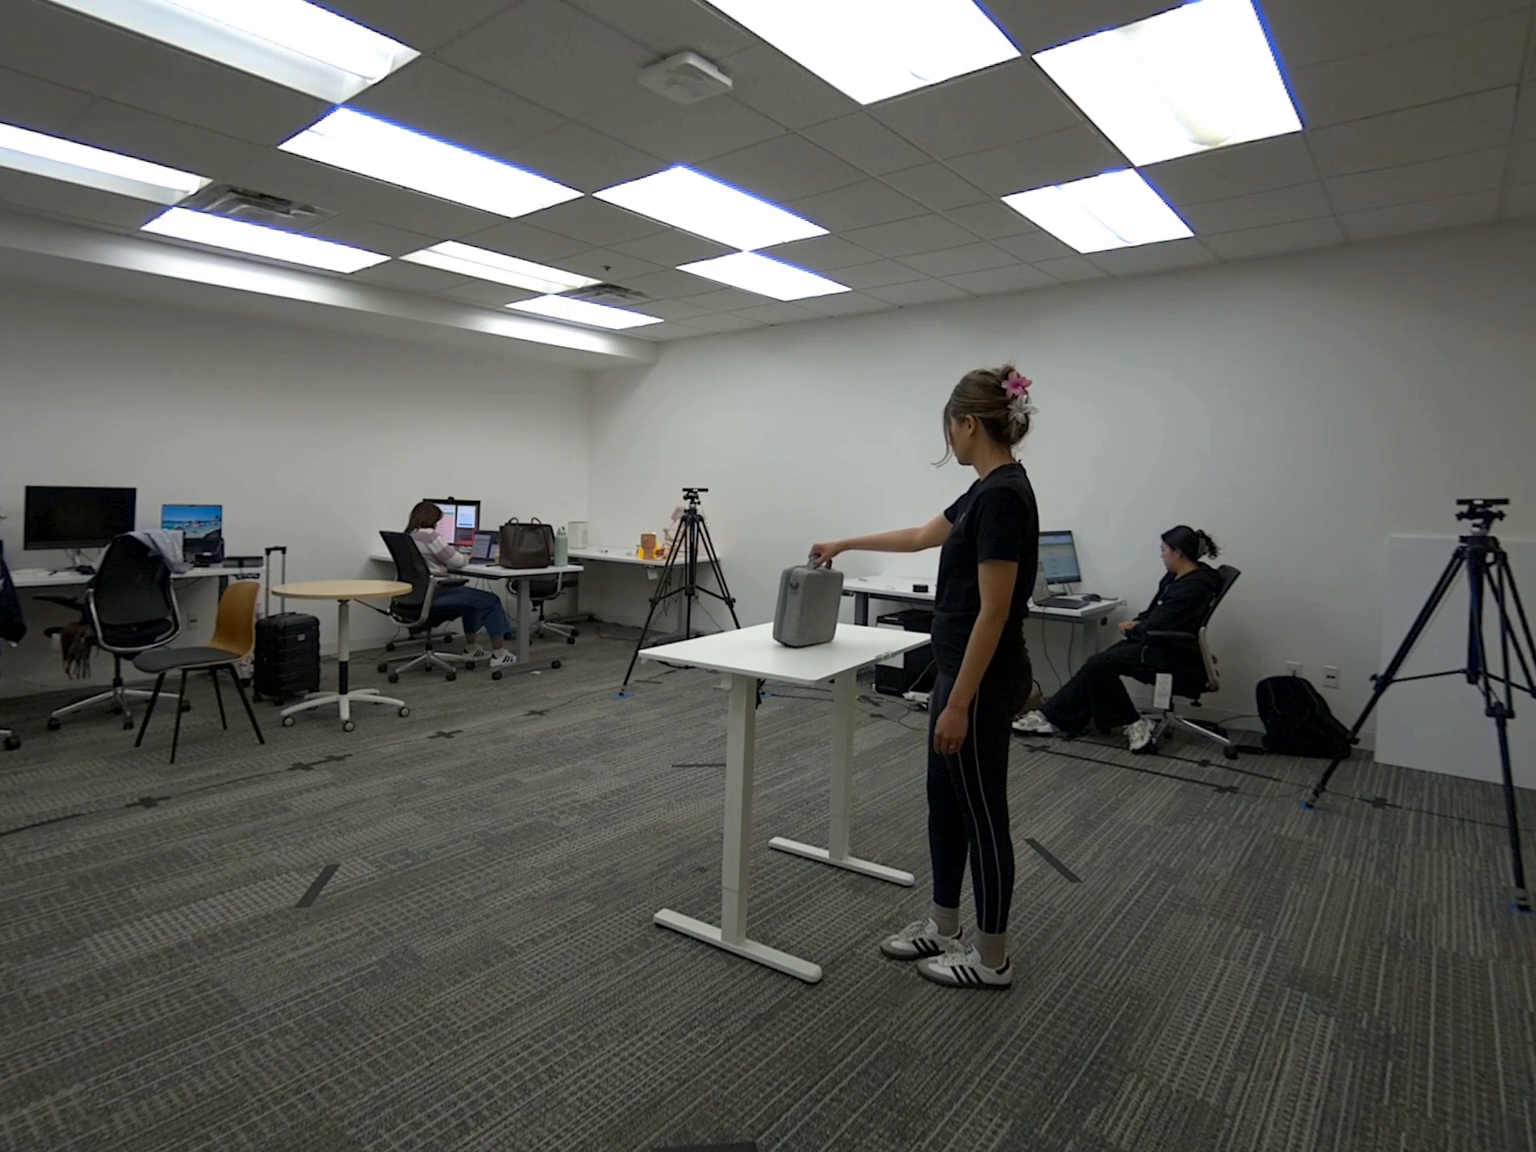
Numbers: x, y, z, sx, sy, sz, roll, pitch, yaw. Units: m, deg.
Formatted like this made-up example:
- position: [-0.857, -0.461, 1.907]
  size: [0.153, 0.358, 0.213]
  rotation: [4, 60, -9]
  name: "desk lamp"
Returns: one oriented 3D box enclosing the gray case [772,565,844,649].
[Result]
- position: [0.130, 0.088, 2.825]
  size: [0.108, 0.259, 0.249]
  rotation: [11, 7, 36]
  name: "gray case"
